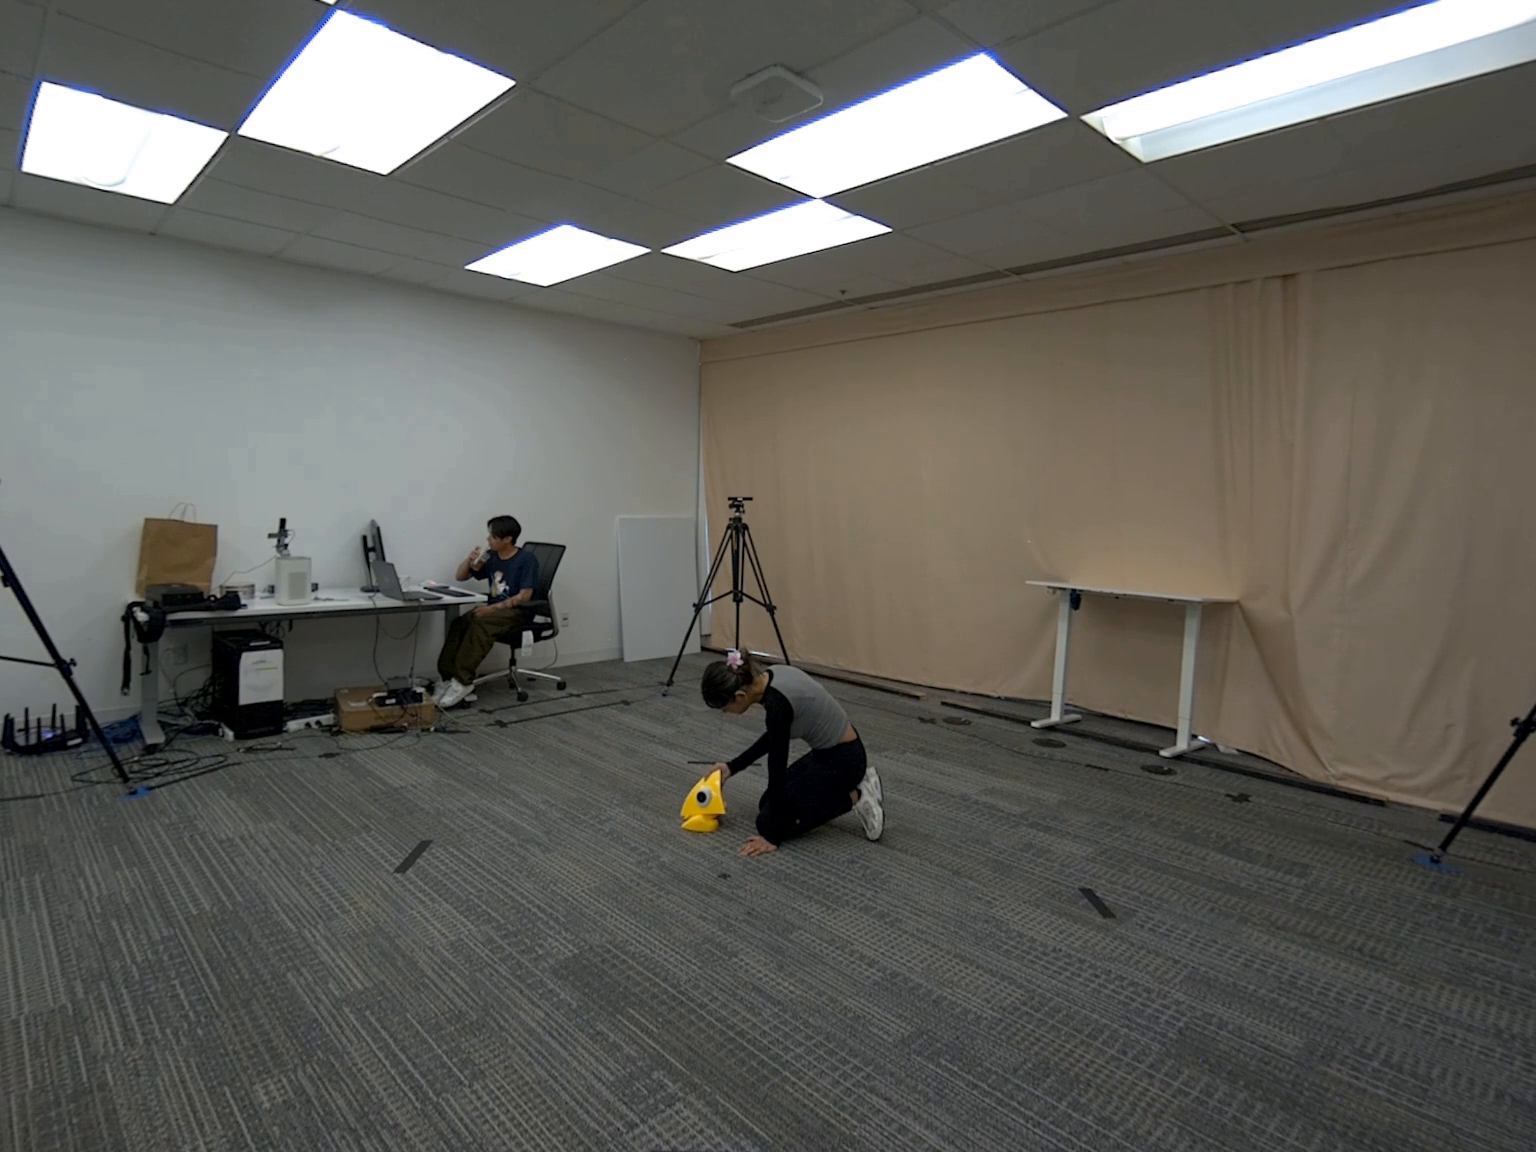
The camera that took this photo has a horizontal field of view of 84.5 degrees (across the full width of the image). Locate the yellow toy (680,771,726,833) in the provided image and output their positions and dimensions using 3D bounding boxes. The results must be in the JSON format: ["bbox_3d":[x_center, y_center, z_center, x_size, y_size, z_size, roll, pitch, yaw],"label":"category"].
[{"bbox_3d":[-0.281,0.939,3.608,0.192,0.230,0.206,4,3,-3],"label":"yellow toy"}]
